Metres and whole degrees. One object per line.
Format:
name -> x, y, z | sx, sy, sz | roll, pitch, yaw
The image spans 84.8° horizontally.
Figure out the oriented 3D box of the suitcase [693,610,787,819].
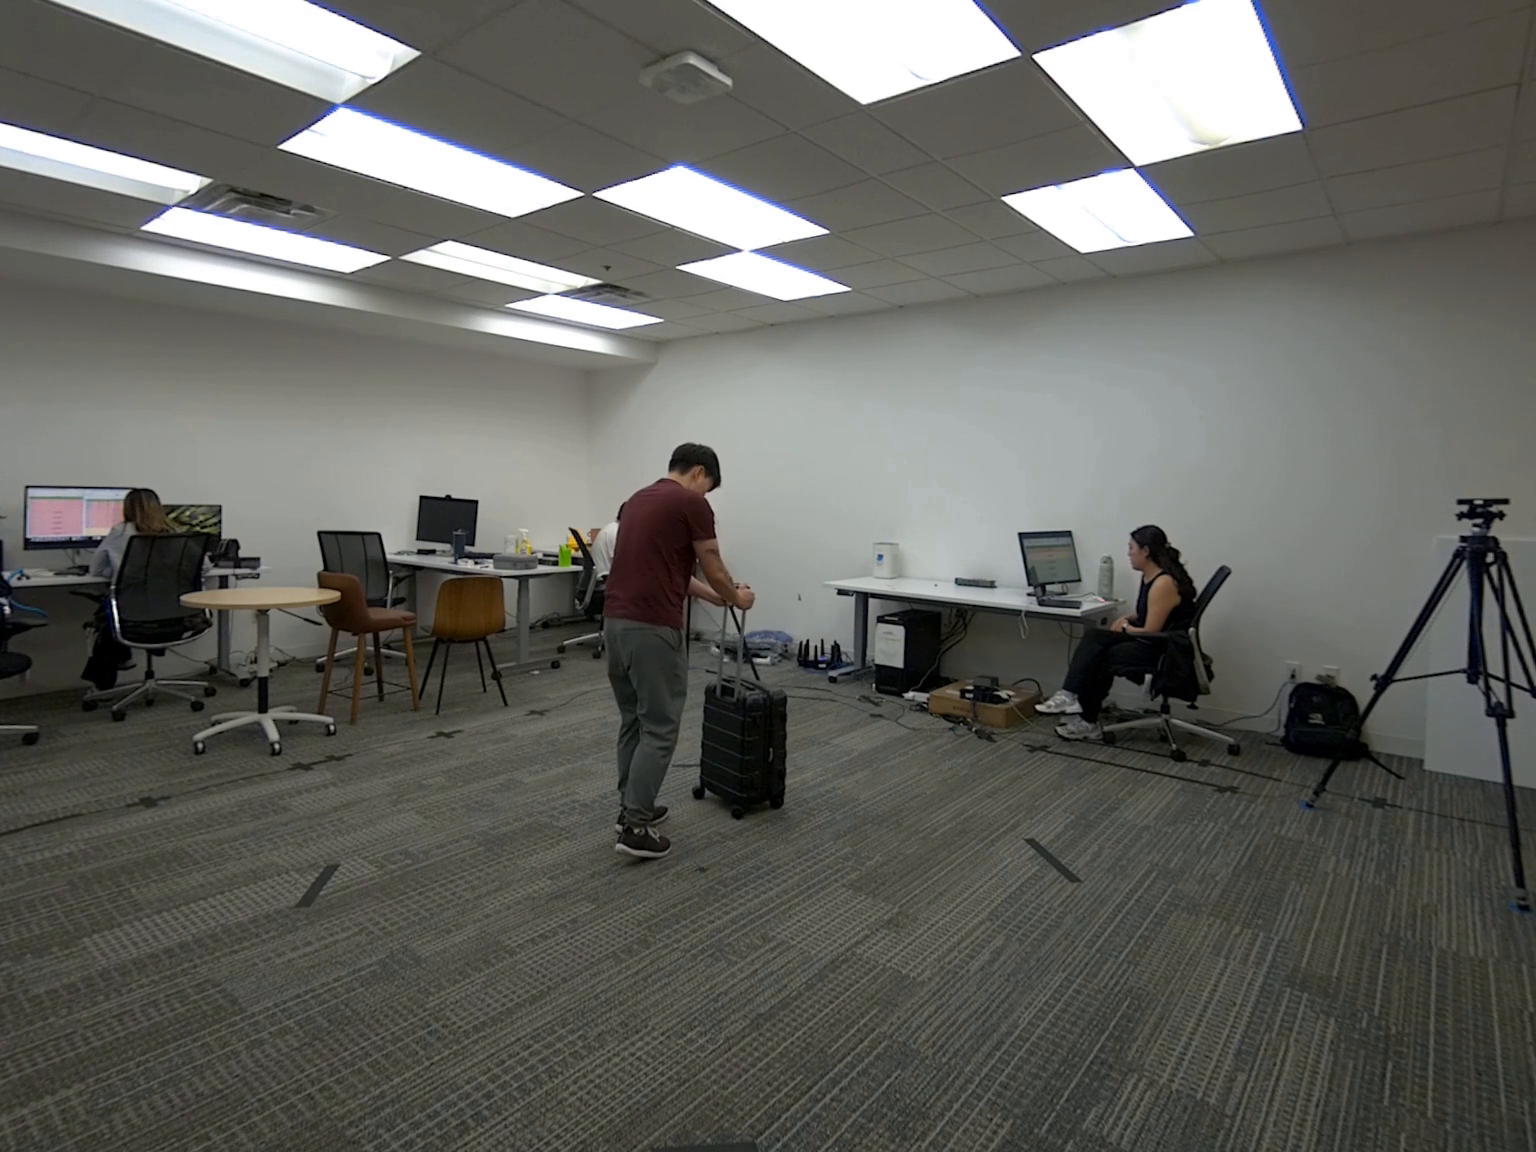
suitcase -> -0.104, 0.533, 3.776 | 0.249, 0.976, 0.397 | 2, 3, -37
